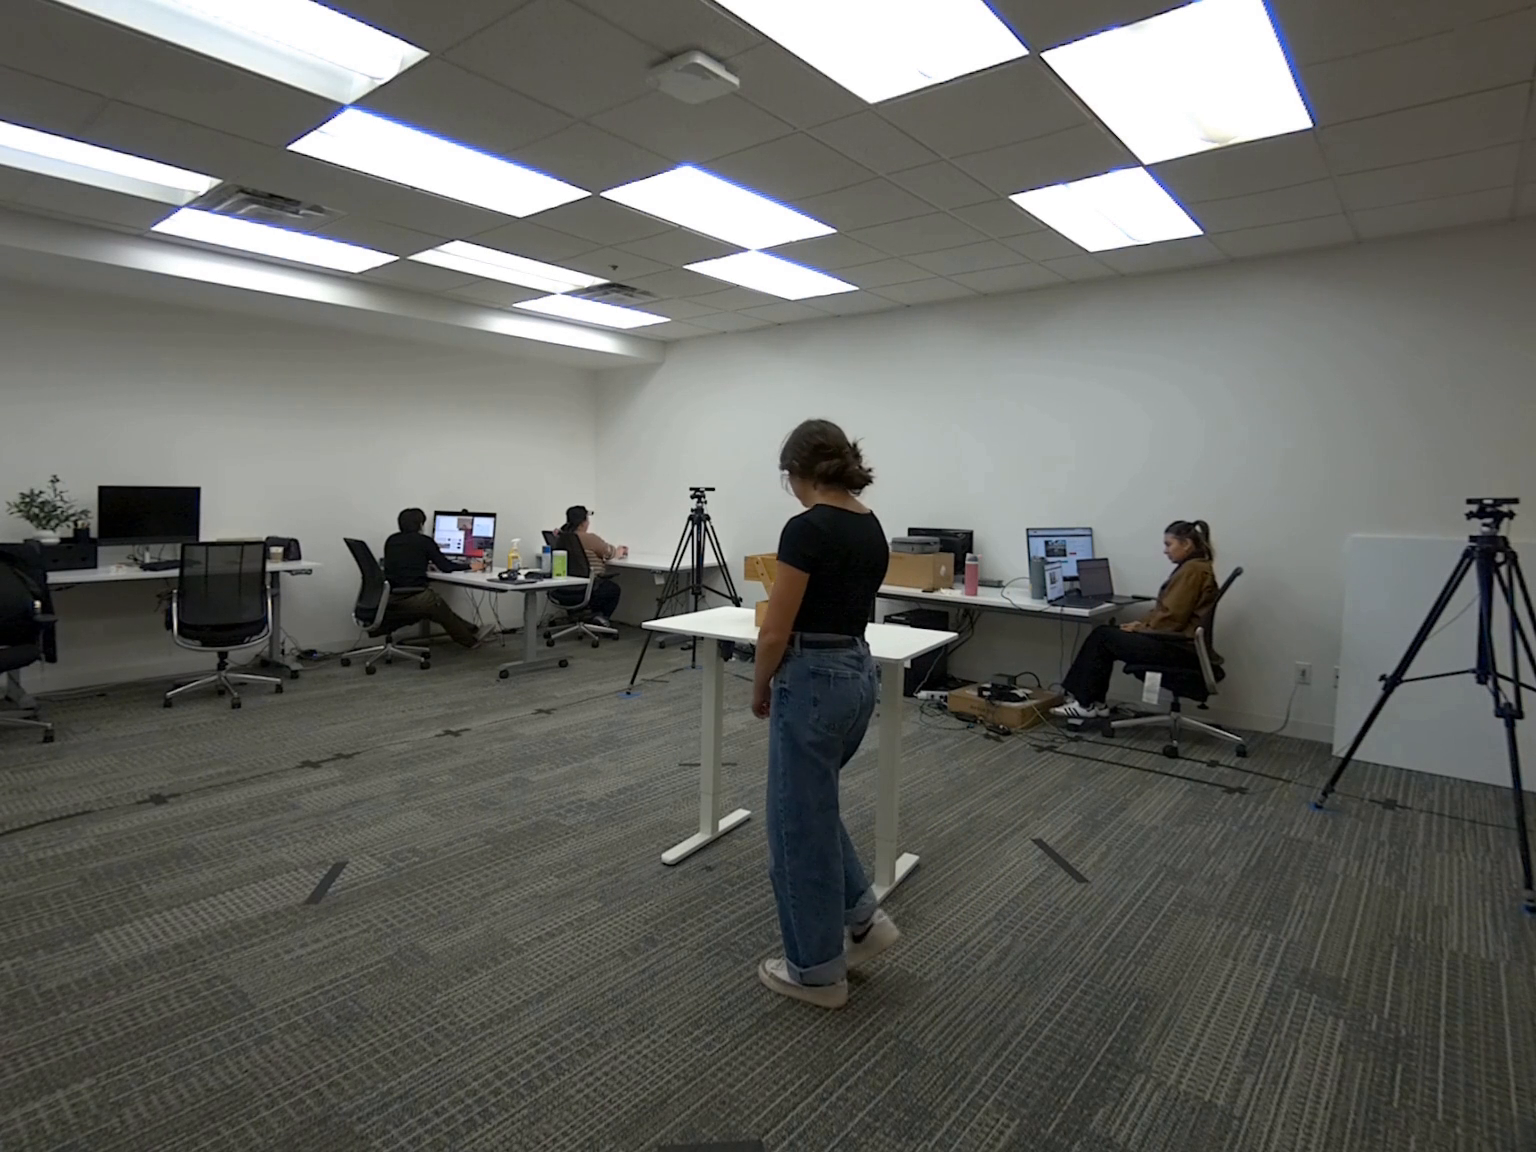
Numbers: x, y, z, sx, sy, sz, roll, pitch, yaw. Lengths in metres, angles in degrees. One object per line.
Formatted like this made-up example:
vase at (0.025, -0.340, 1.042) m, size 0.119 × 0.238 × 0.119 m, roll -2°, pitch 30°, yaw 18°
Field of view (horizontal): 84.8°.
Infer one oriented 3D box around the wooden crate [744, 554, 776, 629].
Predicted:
wooden crate at (0.109, 0.047, 3.213) m, size 0.311 × 0.272 × 0.316 m, roll 3°, pitch 5°, yaw 29°
